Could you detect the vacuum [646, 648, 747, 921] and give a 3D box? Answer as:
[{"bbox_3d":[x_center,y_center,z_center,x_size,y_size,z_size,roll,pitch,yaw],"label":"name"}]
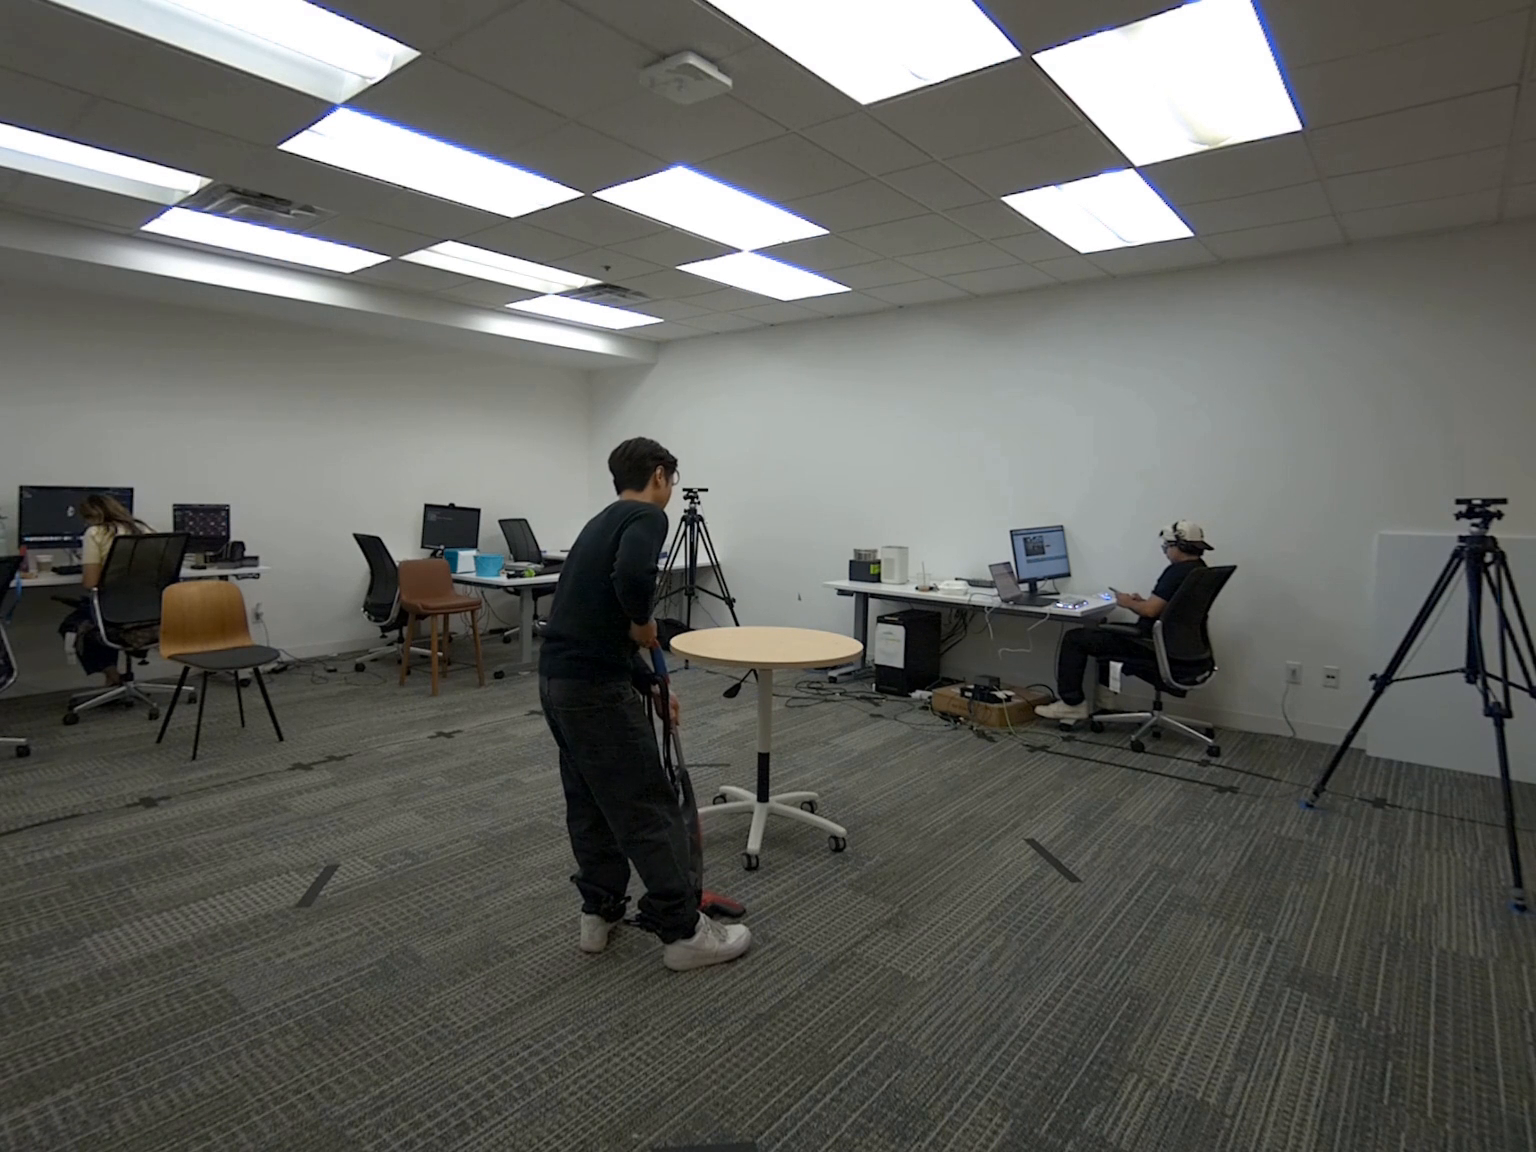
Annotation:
[{"bbox_3d":[-0.295,0.628,2.666,0.261,1.029,0.142,5,23,38],"label":"vacuum"}]
